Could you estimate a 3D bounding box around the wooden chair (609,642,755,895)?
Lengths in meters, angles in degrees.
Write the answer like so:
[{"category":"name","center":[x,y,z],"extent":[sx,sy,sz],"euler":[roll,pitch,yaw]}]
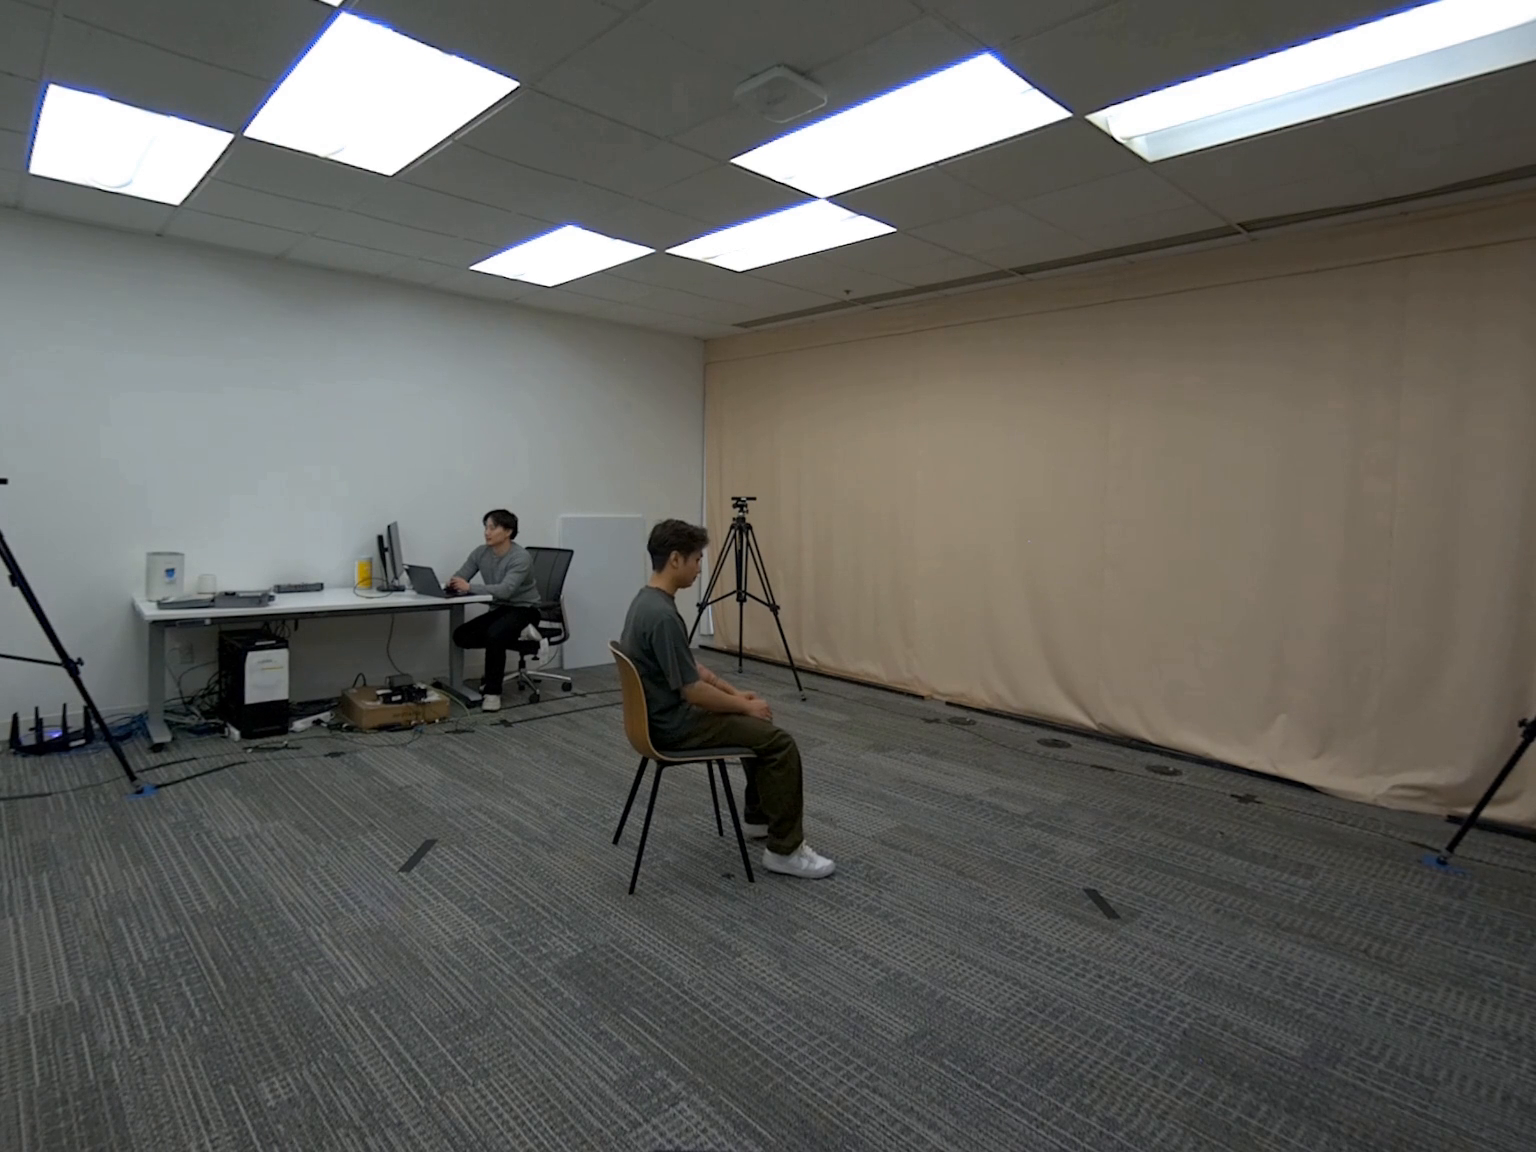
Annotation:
[{"category":"wooden chair","center":[-0.326,0.662,3.182],"extent":[0.517,0.875,0.485],"euler":[-3,4,-16]}]
